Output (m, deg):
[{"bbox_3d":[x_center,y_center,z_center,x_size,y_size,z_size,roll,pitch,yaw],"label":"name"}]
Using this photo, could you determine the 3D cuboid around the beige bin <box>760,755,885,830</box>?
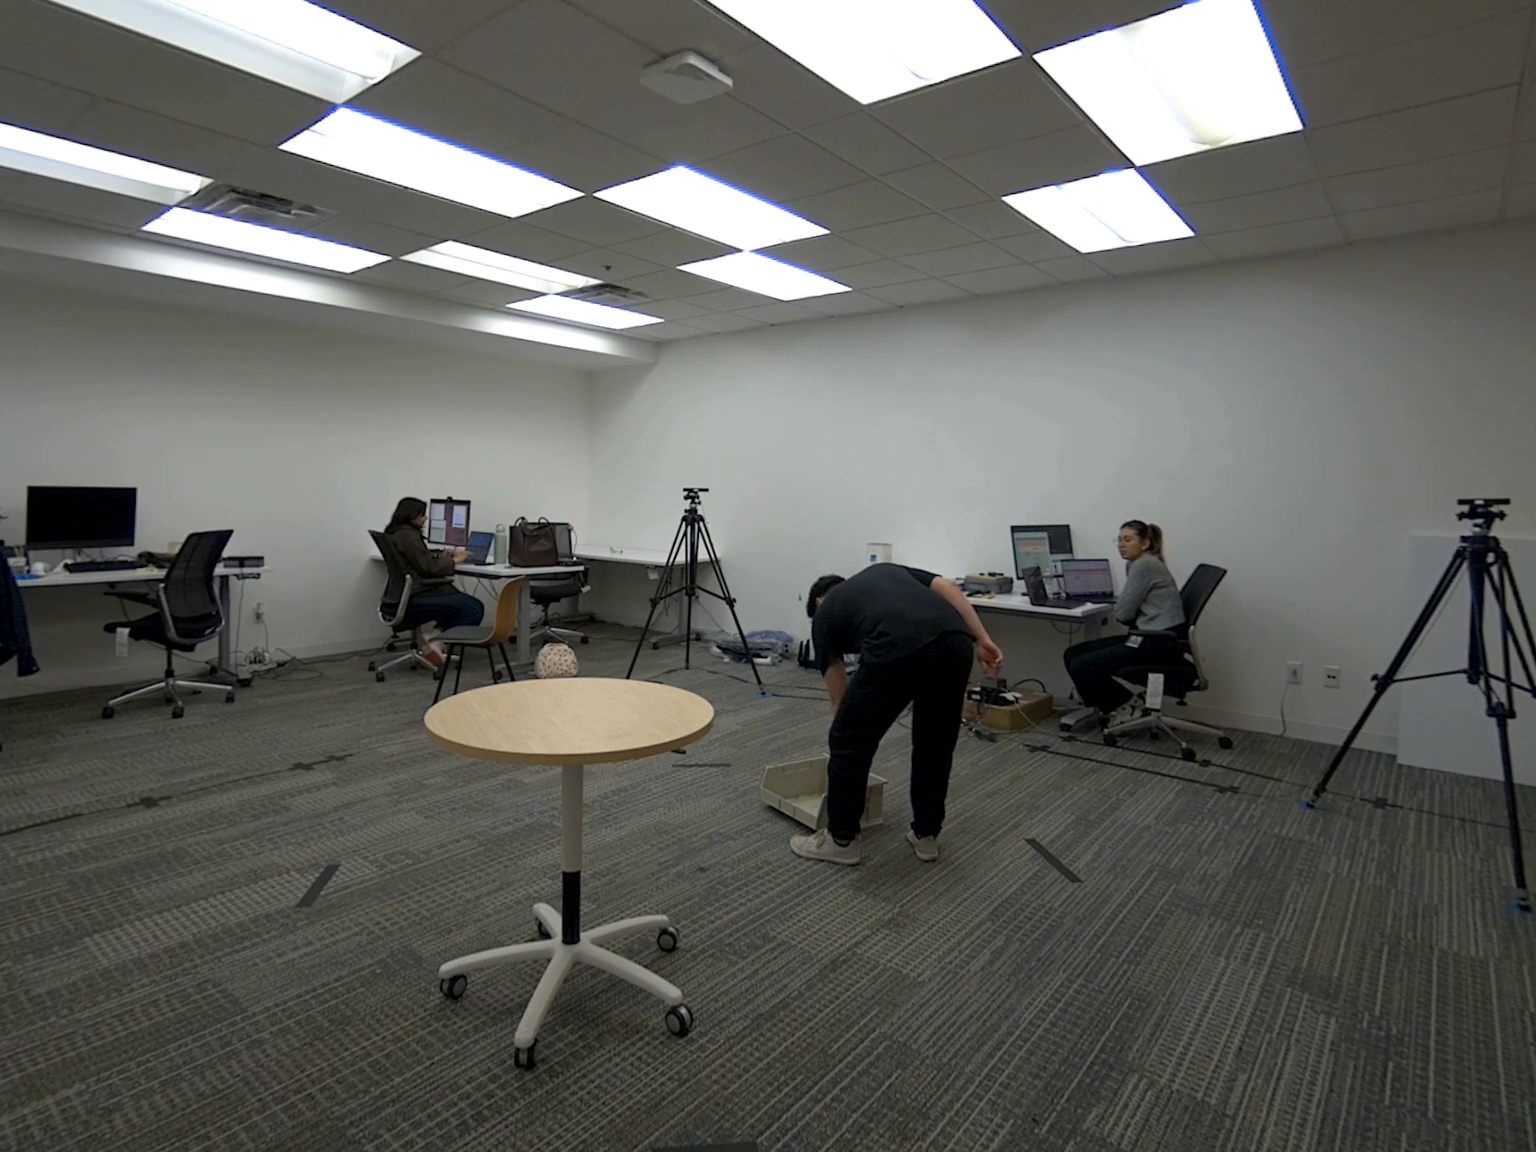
[{"bbox_3d":[0.223,0.936,3.666,0.367,0.188,0.436,-1,5,-33],"label":"beige bin"}]
